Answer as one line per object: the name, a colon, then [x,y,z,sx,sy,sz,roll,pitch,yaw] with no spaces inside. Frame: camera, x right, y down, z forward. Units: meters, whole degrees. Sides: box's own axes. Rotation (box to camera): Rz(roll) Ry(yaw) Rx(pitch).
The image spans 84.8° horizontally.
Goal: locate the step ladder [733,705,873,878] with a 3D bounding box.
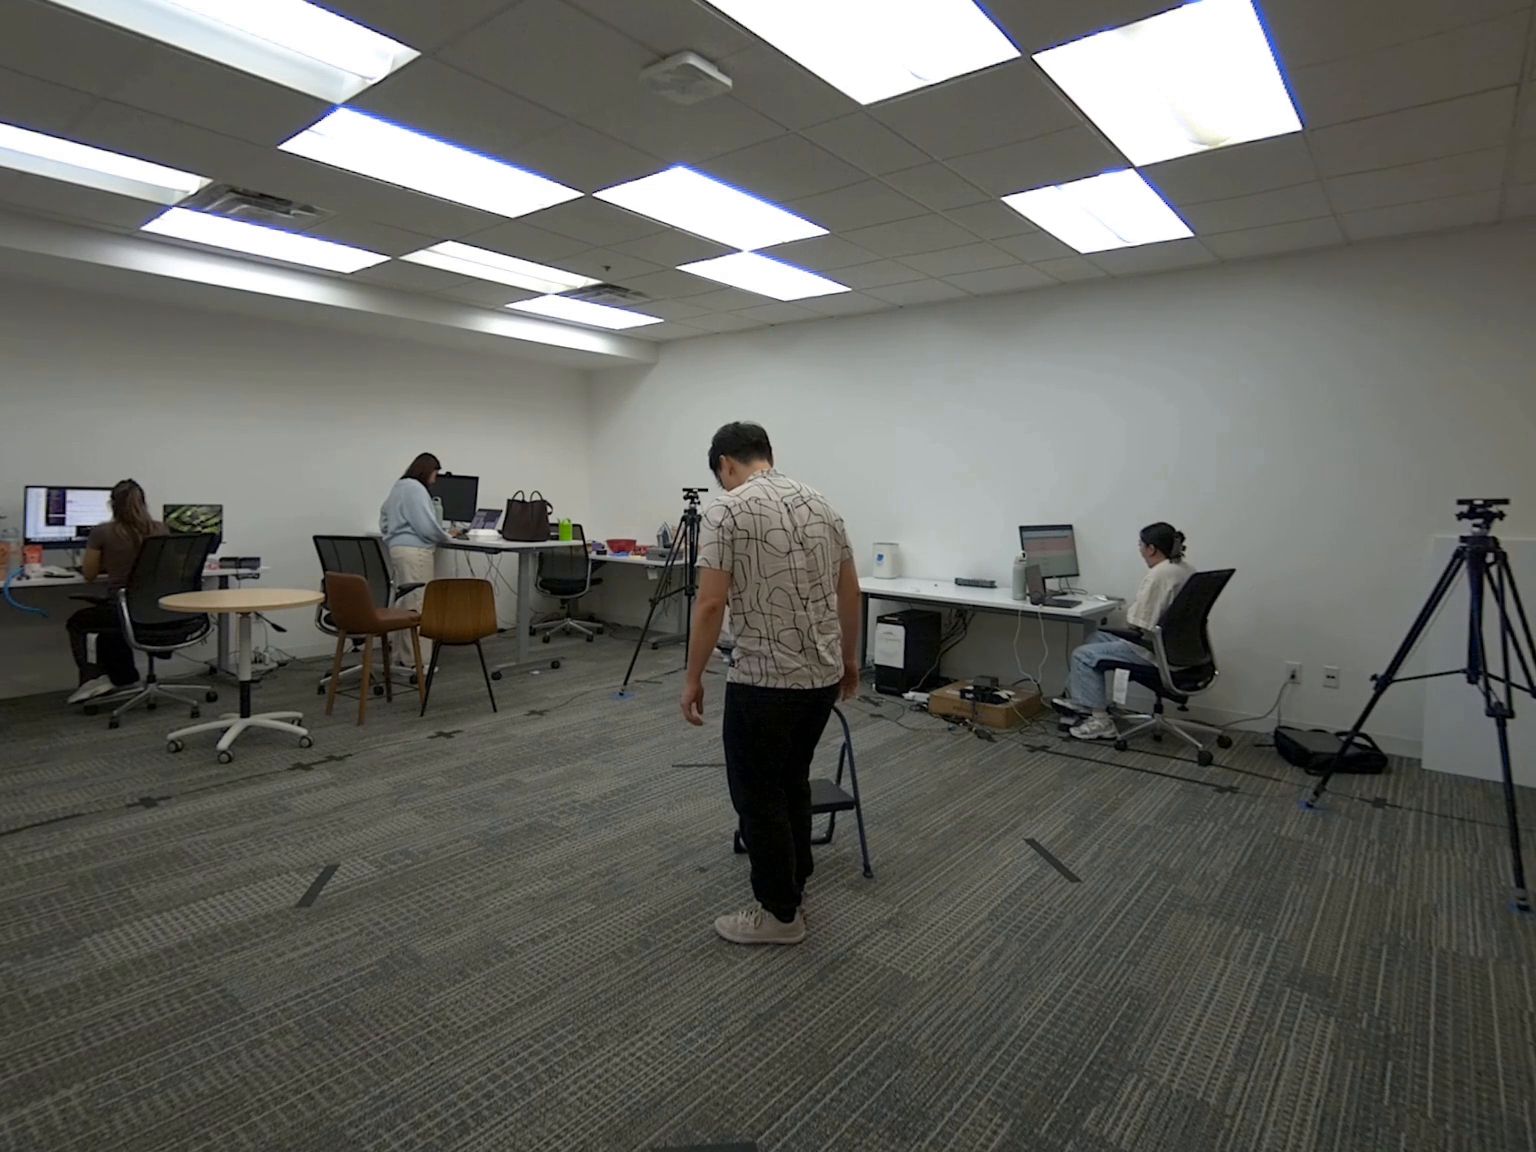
step ladder: [0.124,0.766,3.163,0.421,0.604,0.358,0,3,-22]
